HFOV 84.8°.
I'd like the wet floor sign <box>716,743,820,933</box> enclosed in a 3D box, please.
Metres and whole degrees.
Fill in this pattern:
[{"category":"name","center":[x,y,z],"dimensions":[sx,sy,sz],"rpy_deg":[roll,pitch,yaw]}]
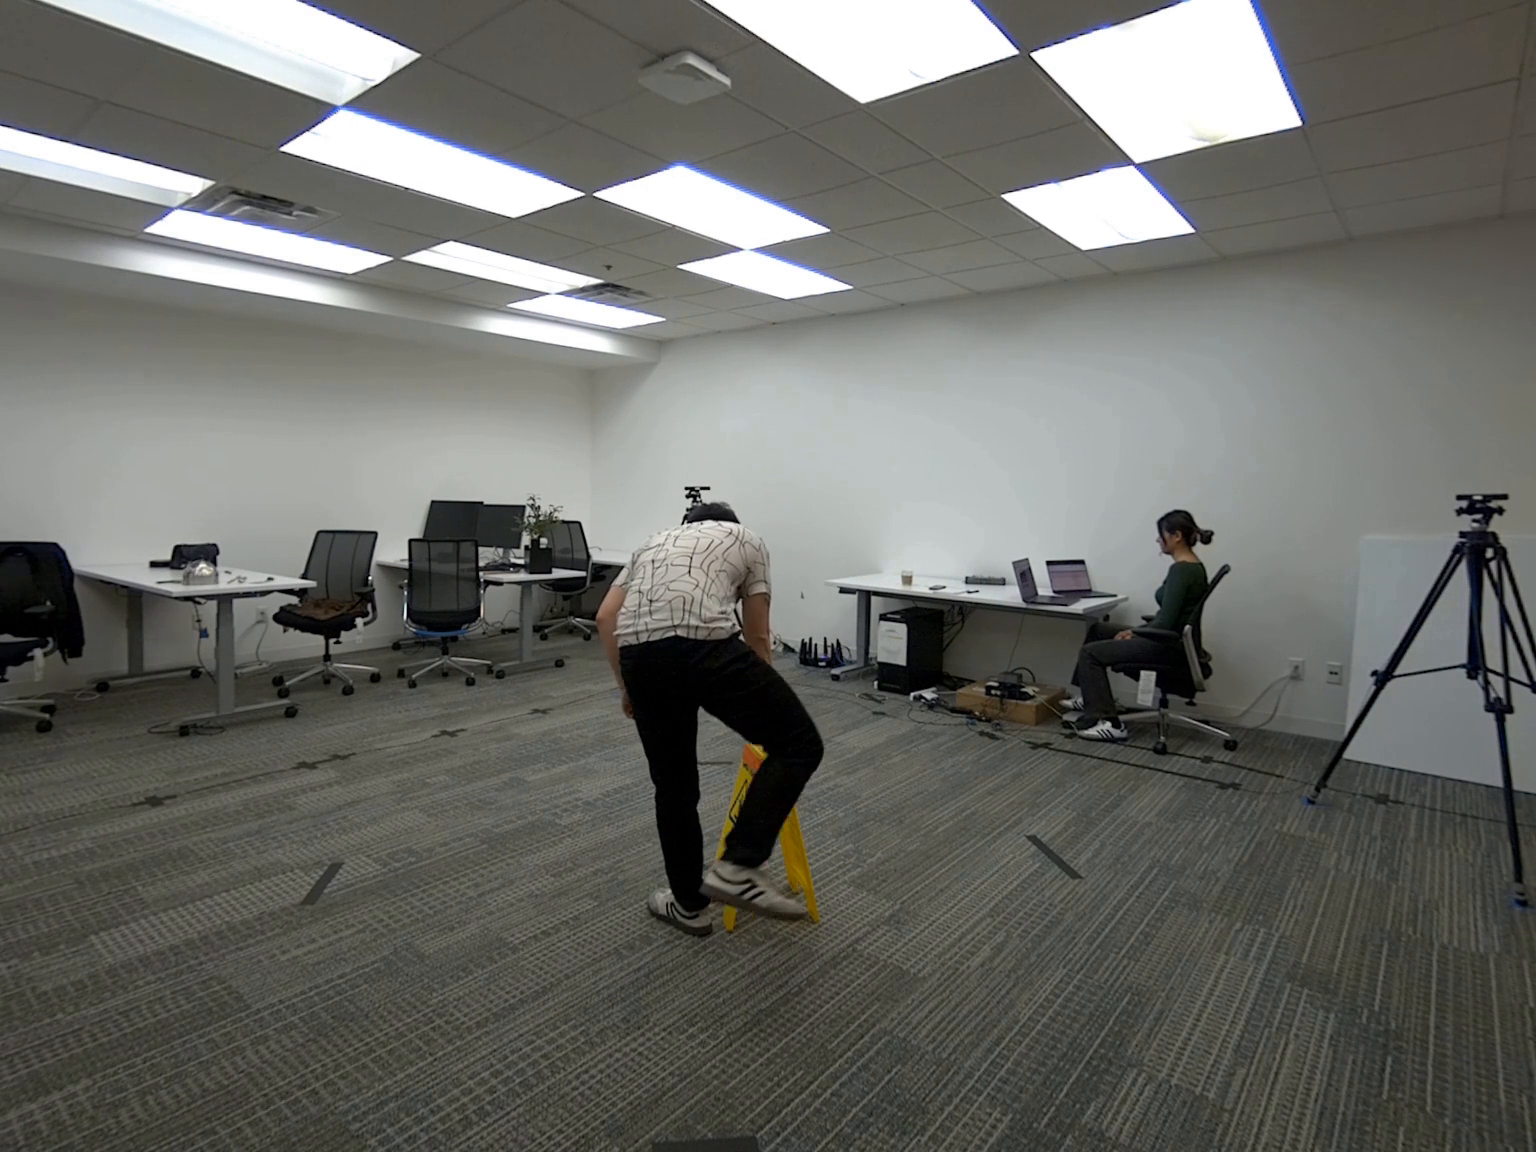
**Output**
[{"category":"wet floor sign","center":[-0.020,0.772,2.813],"dimensions":[0.285,0.644,0.288],"rpy_deg":[0,4,-16]}]
